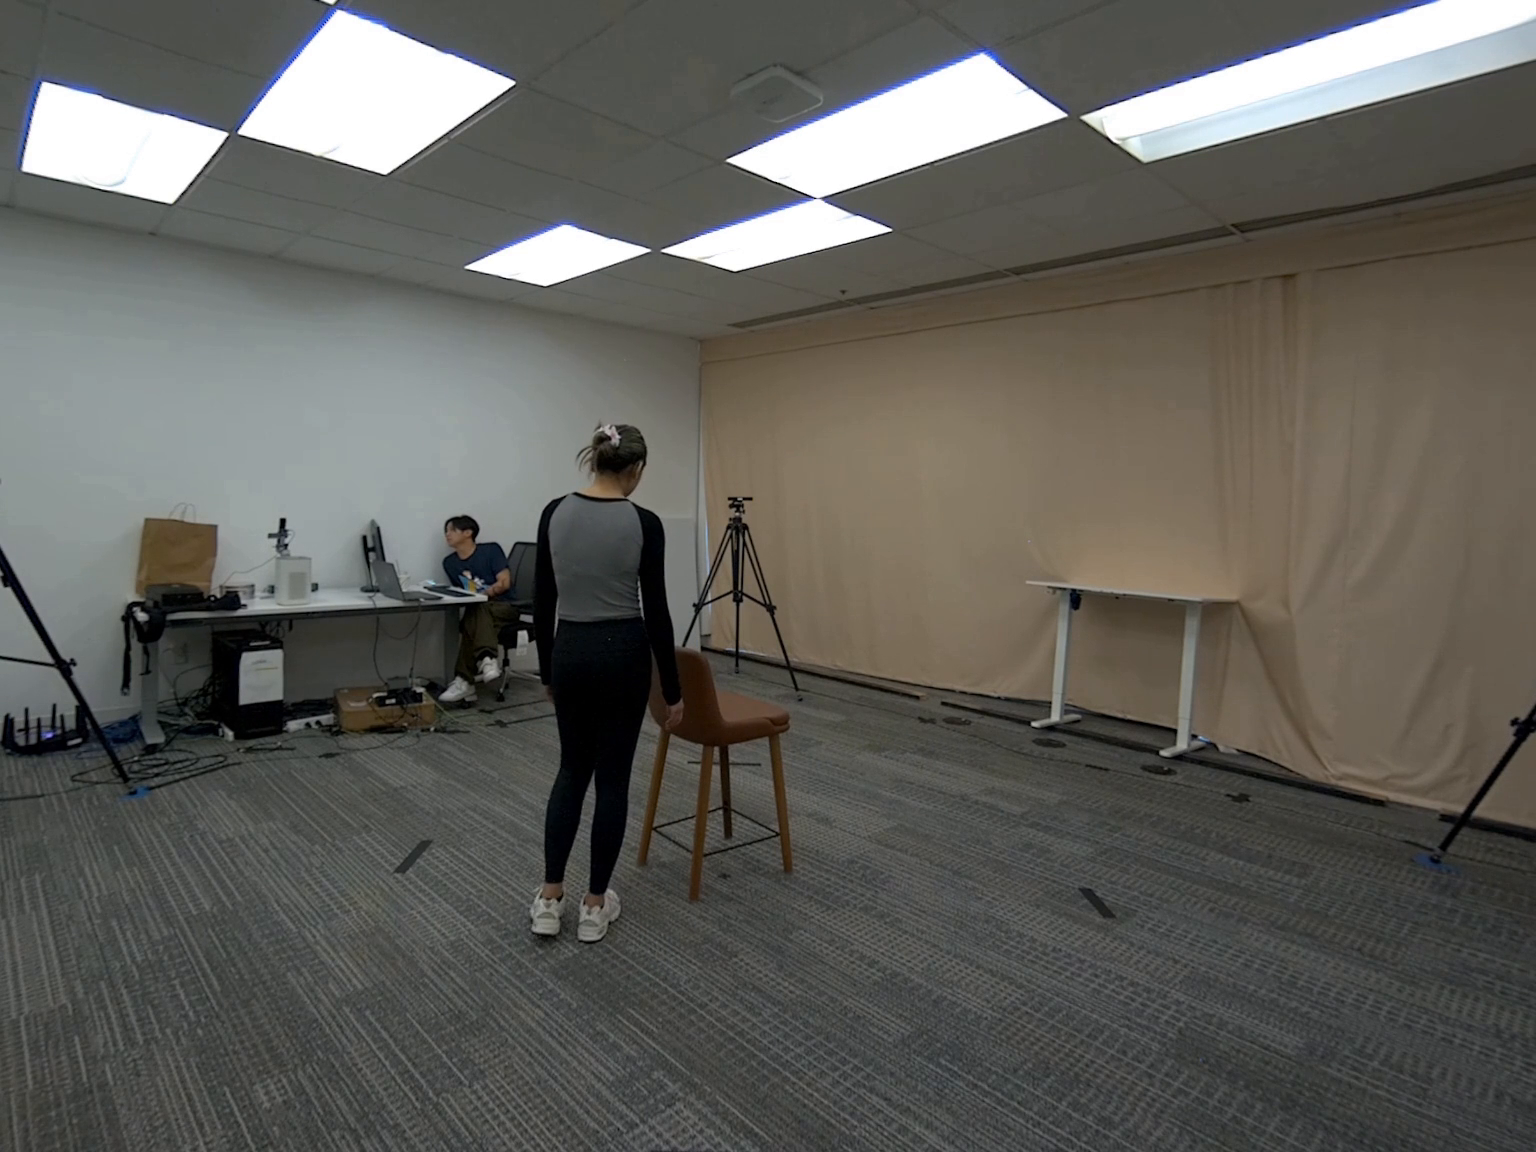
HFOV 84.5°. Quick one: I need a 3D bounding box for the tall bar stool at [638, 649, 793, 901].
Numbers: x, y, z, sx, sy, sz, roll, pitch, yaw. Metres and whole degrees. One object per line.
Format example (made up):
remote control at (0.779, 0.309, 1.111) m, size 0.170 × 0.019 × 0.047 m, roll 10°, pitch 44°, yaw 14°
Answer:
tall bar stool at (-0.205, 0.666, 3.147) m, size 0.457 × 0.887 × 0.468 m, roll -4°, pitch 6°, yaw -38°
